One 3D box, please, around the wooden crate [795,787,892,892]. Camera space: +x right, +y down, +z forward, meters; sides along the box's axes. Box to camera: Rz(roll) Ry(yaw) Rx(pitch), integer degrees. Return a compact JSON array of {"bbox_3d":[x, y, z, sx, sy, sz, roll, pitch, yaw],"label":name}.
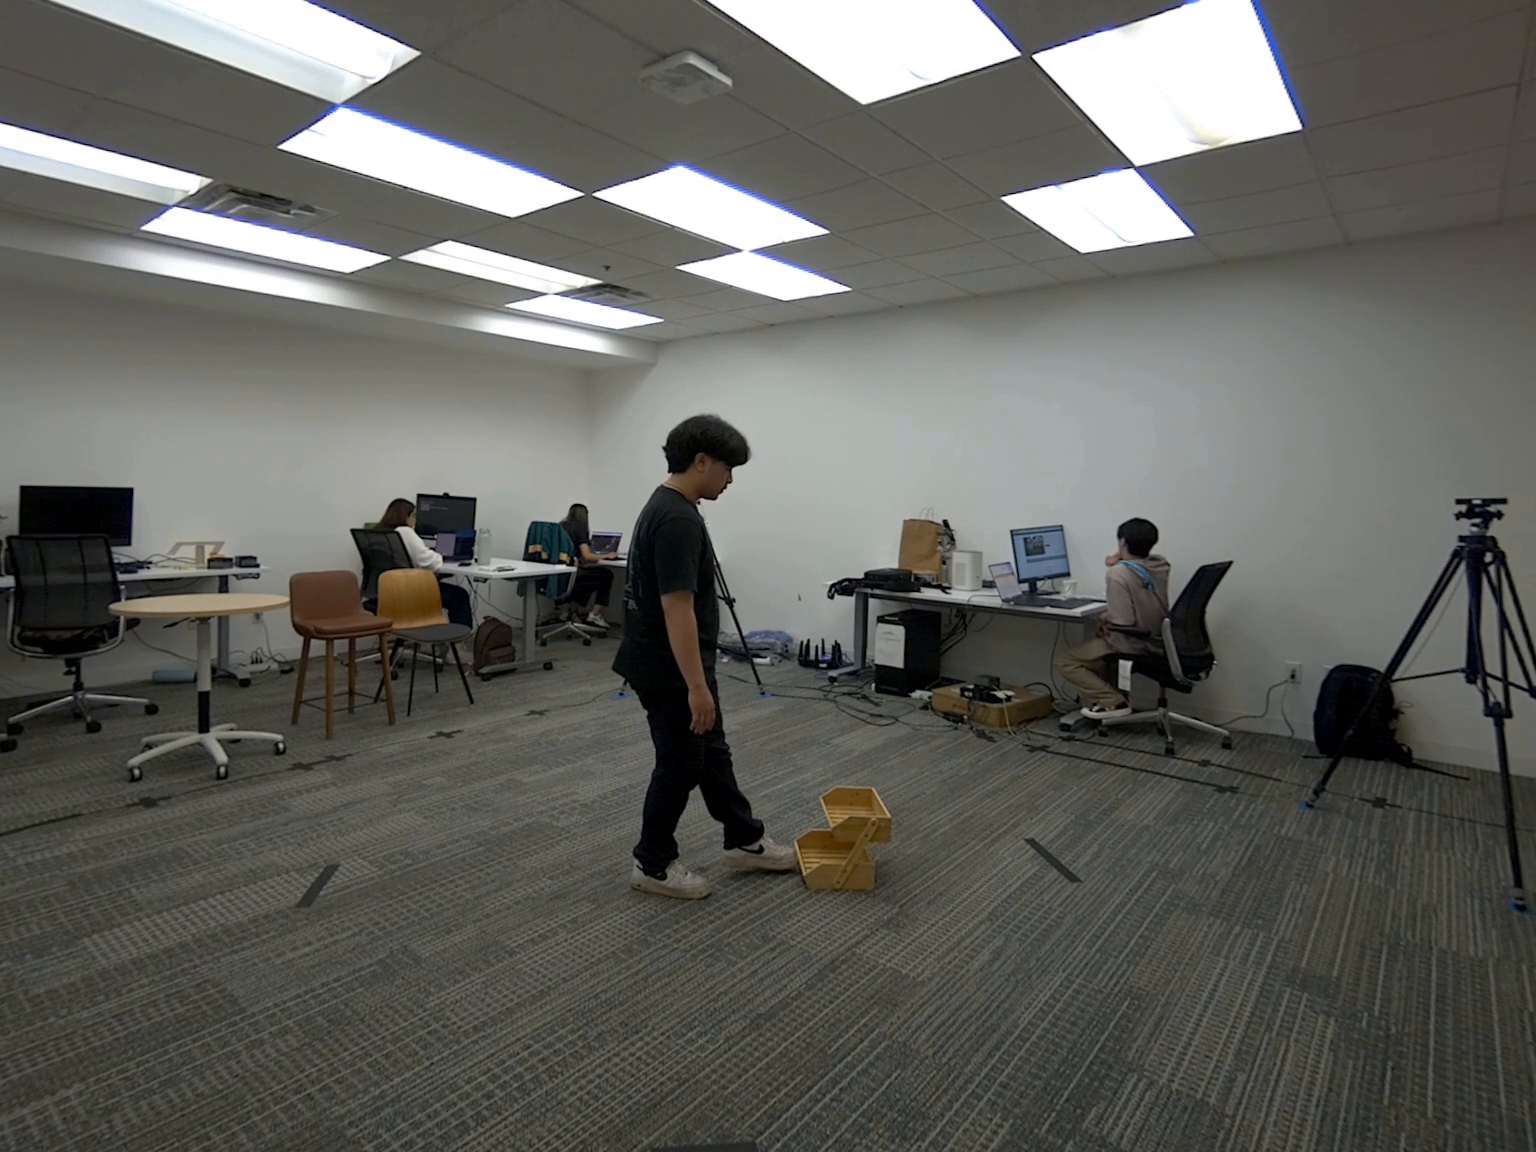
[{"bbox_3d":[0.248,0.948,3.117,0.301,0.272,0.326,2,4,-3],"label":"wooden crate"}]
